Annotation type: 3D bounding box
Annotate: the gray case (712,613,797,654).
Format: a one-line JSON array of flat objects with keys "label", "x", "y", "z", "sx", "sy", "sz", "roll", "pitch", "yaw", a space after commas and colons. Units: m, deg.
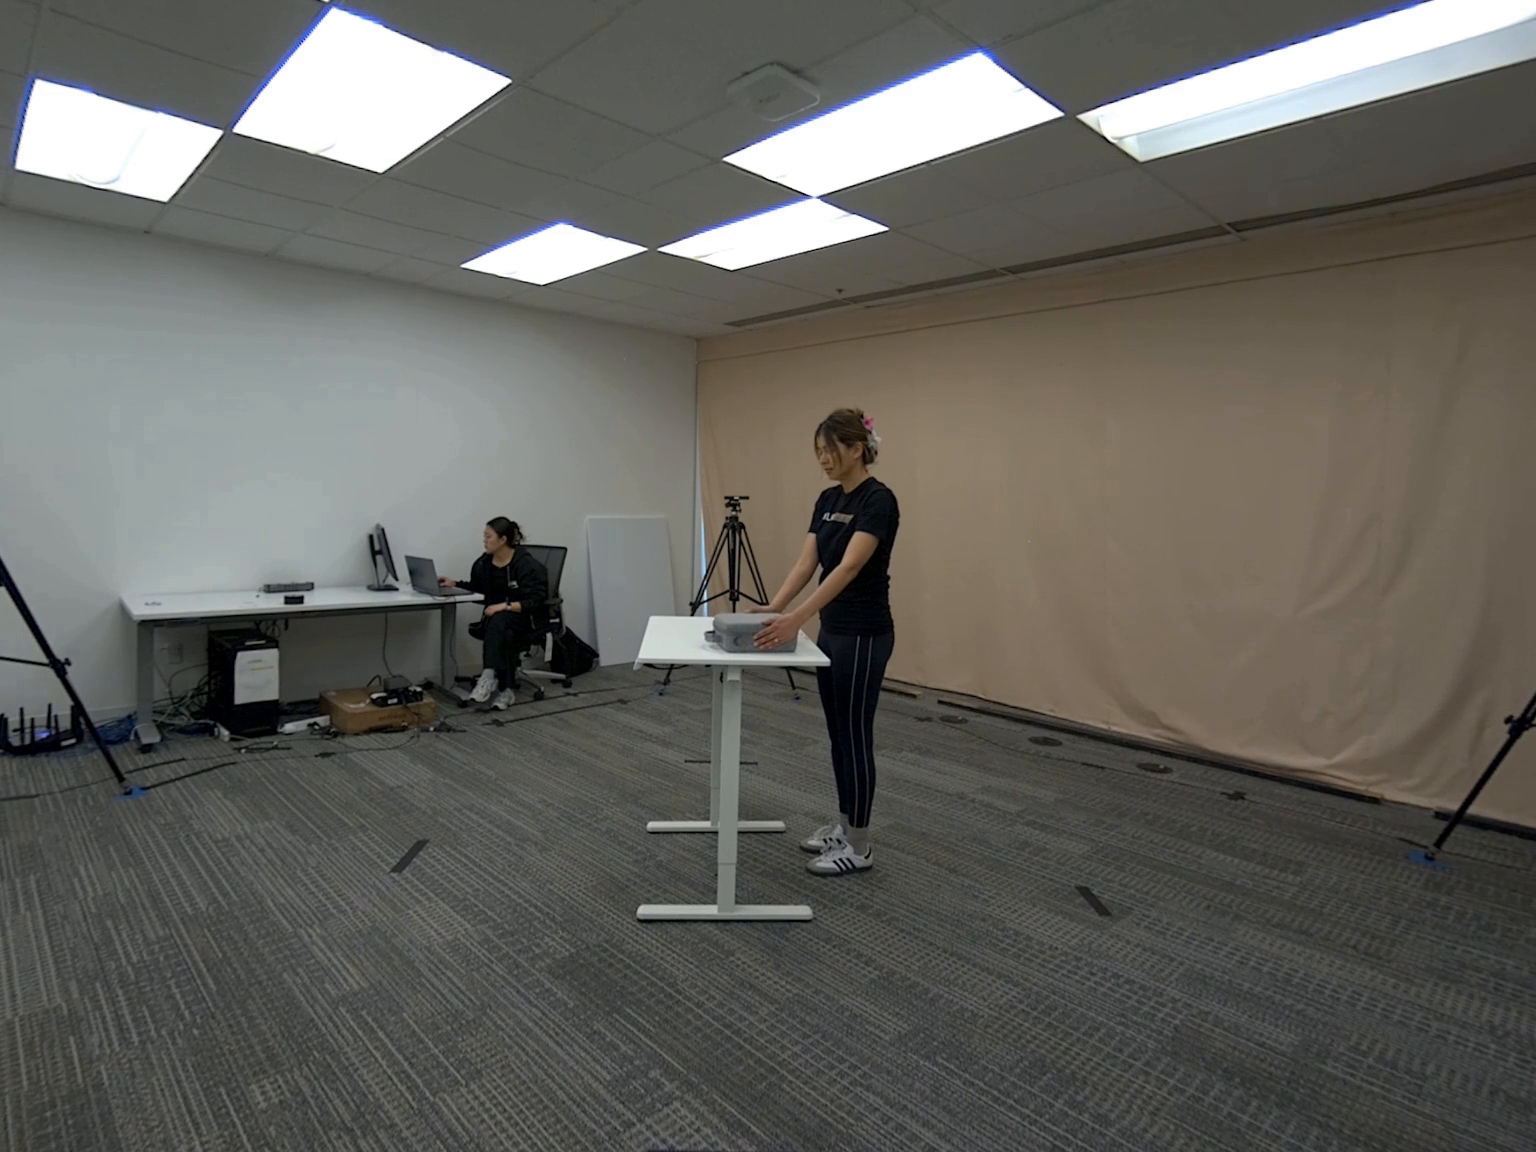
[{"label": "gray case", "x": -0.059, "y": 0.191, "z": 2.863, "sx": 0.258, "sy": 0.104, "sz": 0.260, "roll": 1, "pitch": 5, "yaw": -12}]
